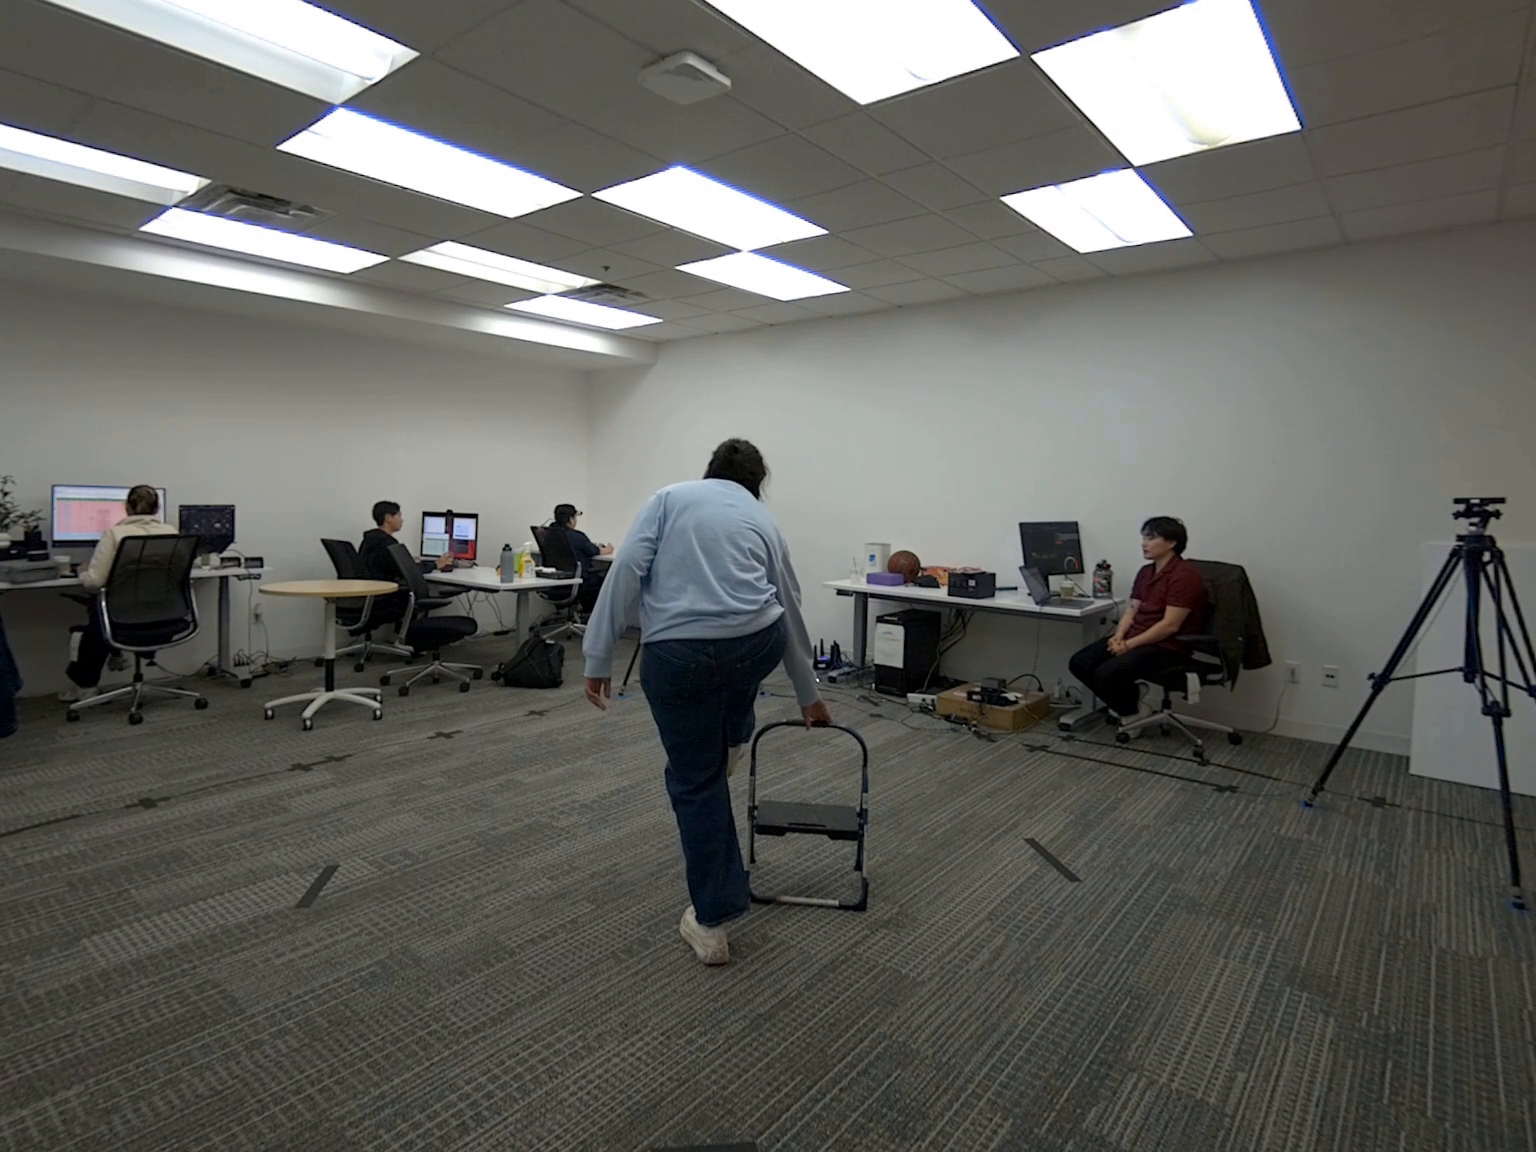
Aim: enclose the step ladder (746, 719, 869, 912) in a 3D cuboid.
[{"bbox_3d":[0.132,0.786,2.991,0.433,0.604,0.348,1,3,5],"label":"step ladder"}]
